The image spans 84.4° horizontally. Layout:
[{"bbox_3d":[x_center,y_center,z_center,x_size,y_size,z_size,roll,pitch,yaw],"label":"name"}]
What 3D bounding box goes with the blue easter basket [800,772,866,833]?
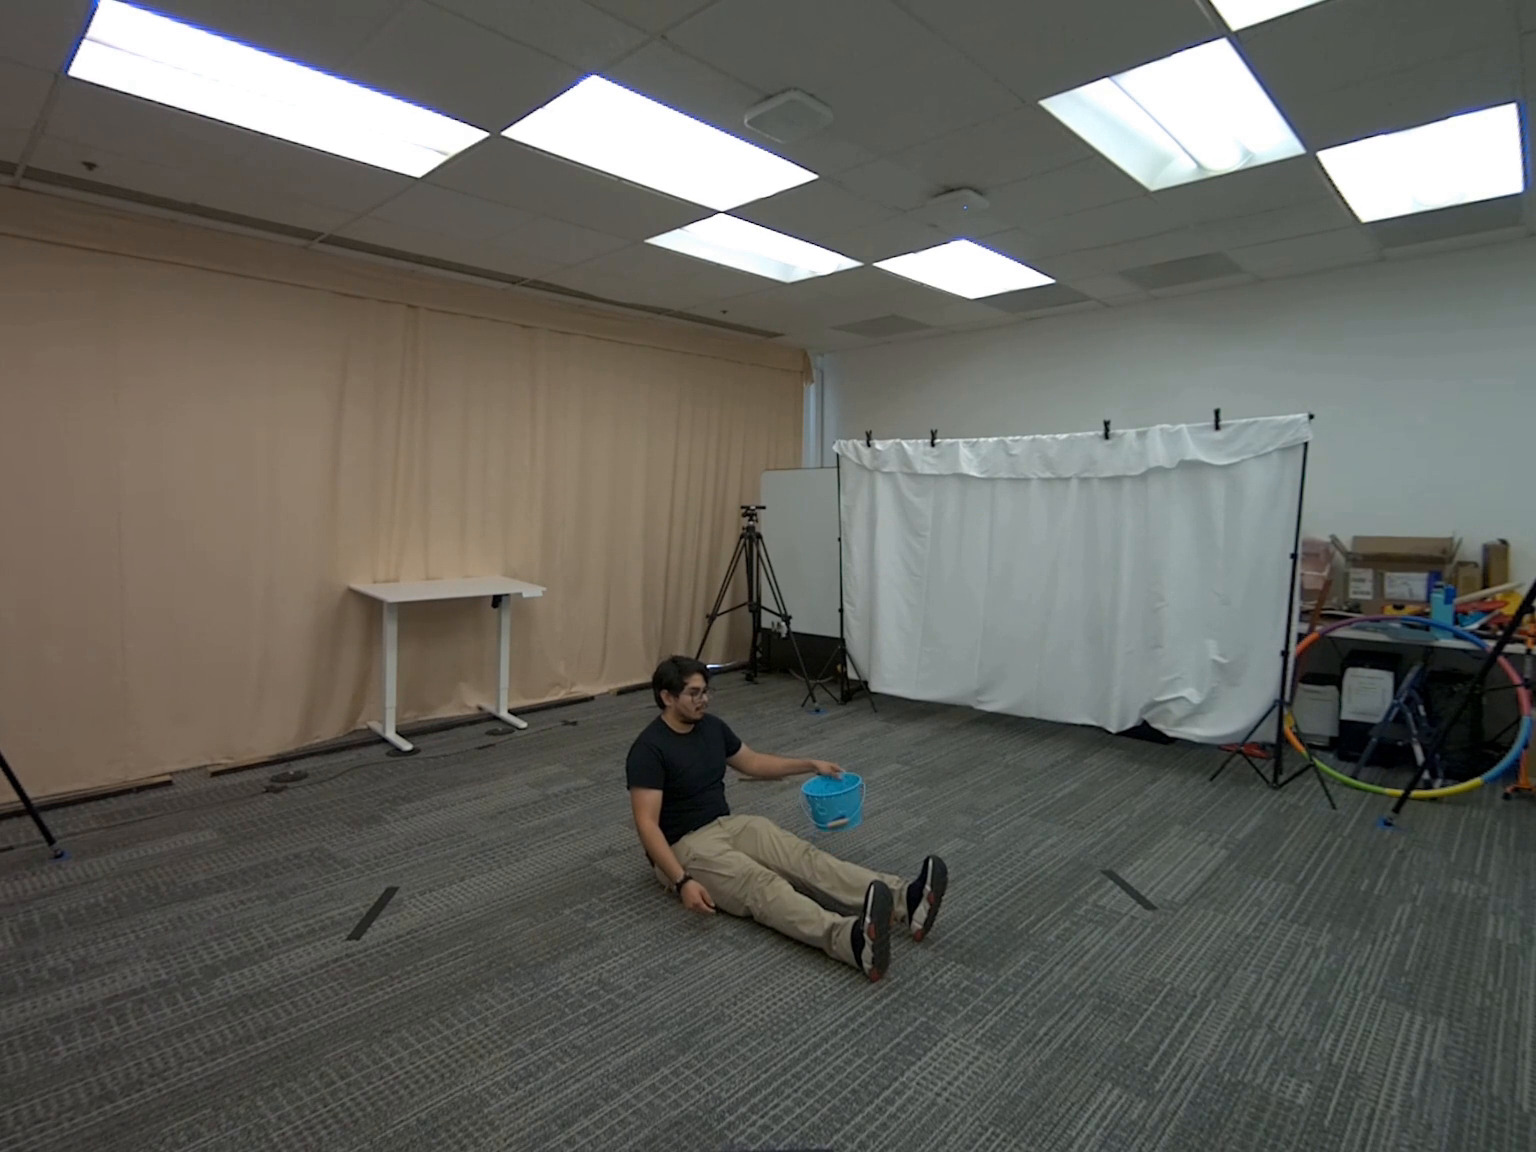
[{"bbox_3d":[0.245,0.878,3.199,0.243,0.155,0.245,-8,6,-1],"label":"blue easter basket"}]
